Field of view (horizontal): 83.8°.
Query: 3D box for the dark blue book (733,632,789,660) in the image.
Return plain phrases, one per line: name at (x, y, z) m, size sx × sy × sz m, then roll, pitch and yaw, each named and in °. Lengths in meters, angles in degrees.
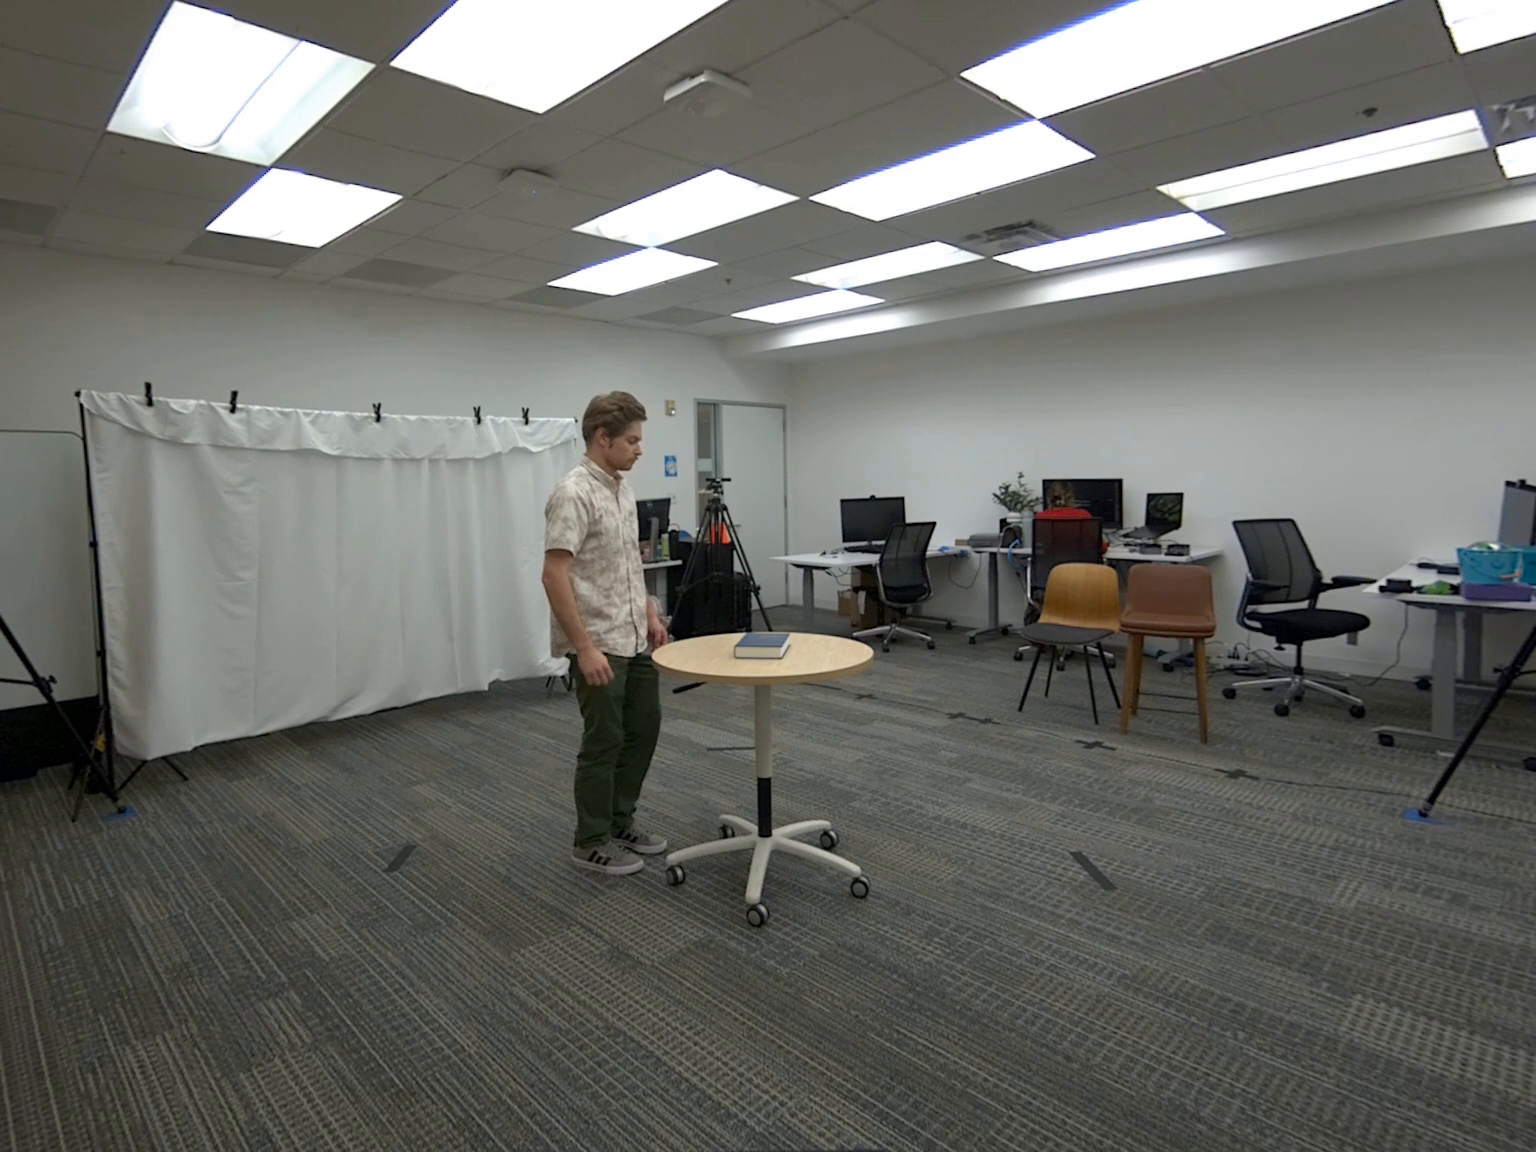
dark blue book at (-0.014, 0.240, 2.969) m, size 0.165 × 0.045 × 0.244 m, roll 0°, pitch 6°, yaw 9°
